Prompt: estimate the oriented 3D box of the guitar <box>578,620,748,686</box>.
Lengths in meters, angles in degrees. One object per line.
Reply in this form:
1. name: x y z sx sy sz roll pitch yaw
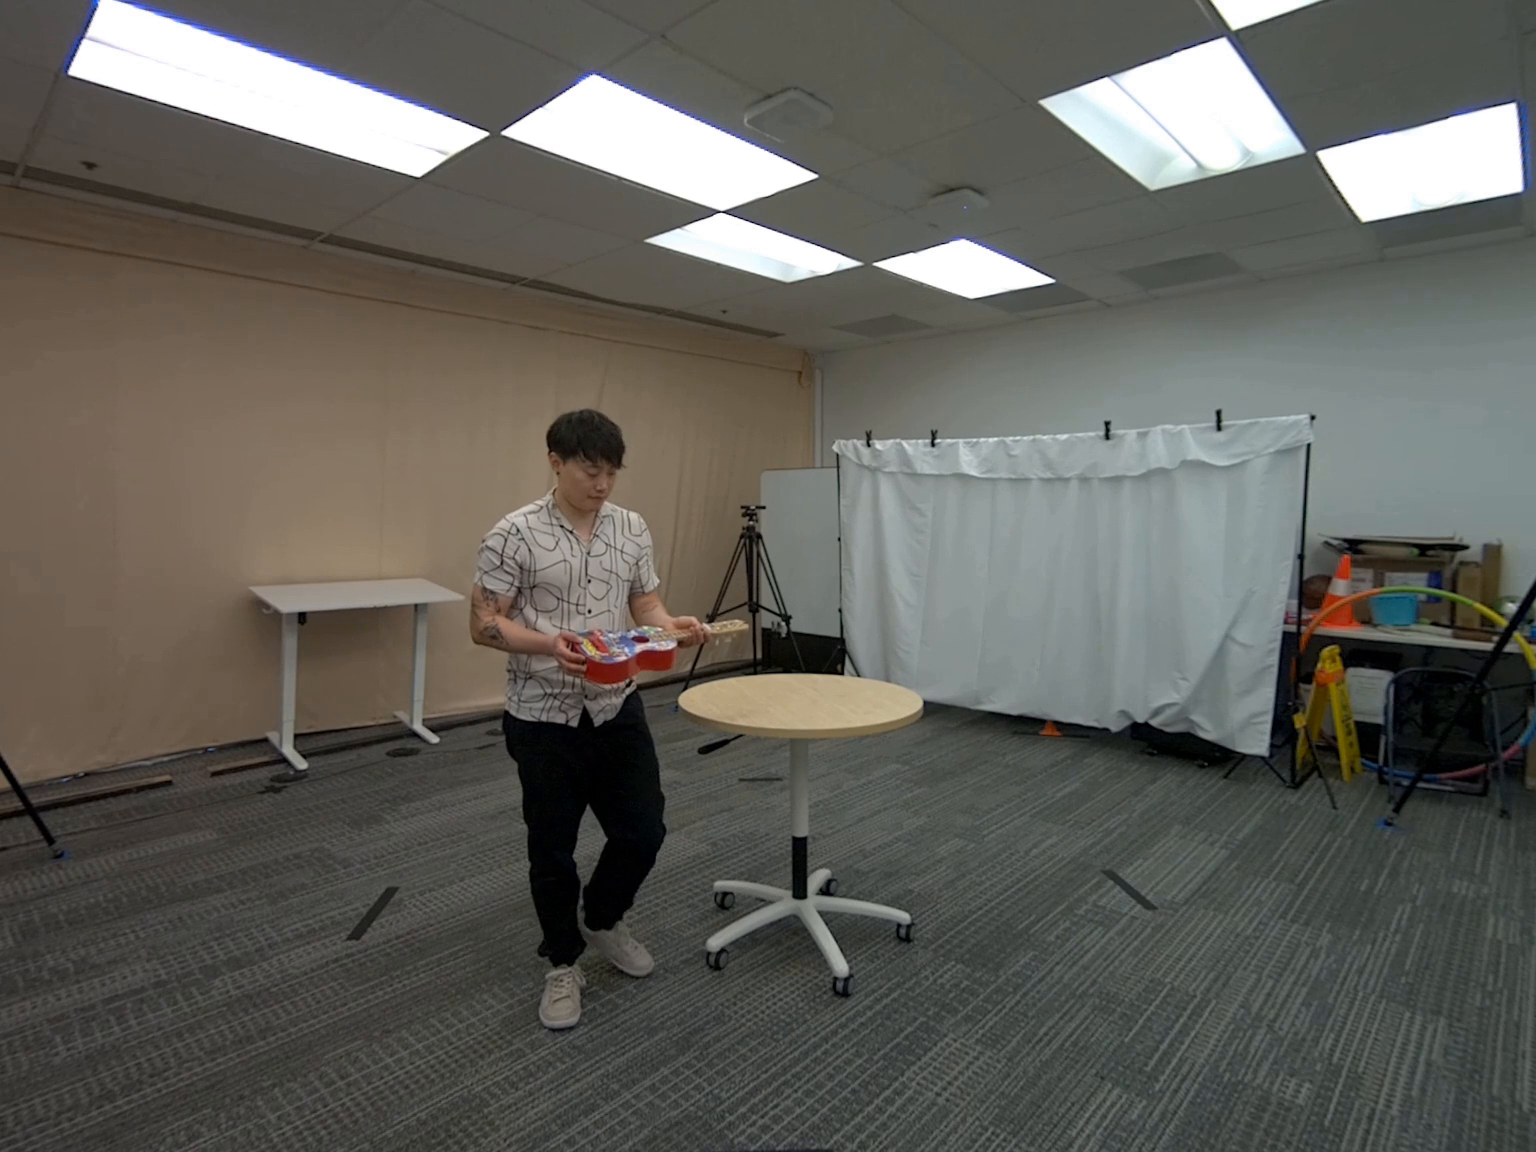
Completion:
1. guitar: -0.254 0.190 2.174 0.486 0.070 0.199 -1 23 -24
